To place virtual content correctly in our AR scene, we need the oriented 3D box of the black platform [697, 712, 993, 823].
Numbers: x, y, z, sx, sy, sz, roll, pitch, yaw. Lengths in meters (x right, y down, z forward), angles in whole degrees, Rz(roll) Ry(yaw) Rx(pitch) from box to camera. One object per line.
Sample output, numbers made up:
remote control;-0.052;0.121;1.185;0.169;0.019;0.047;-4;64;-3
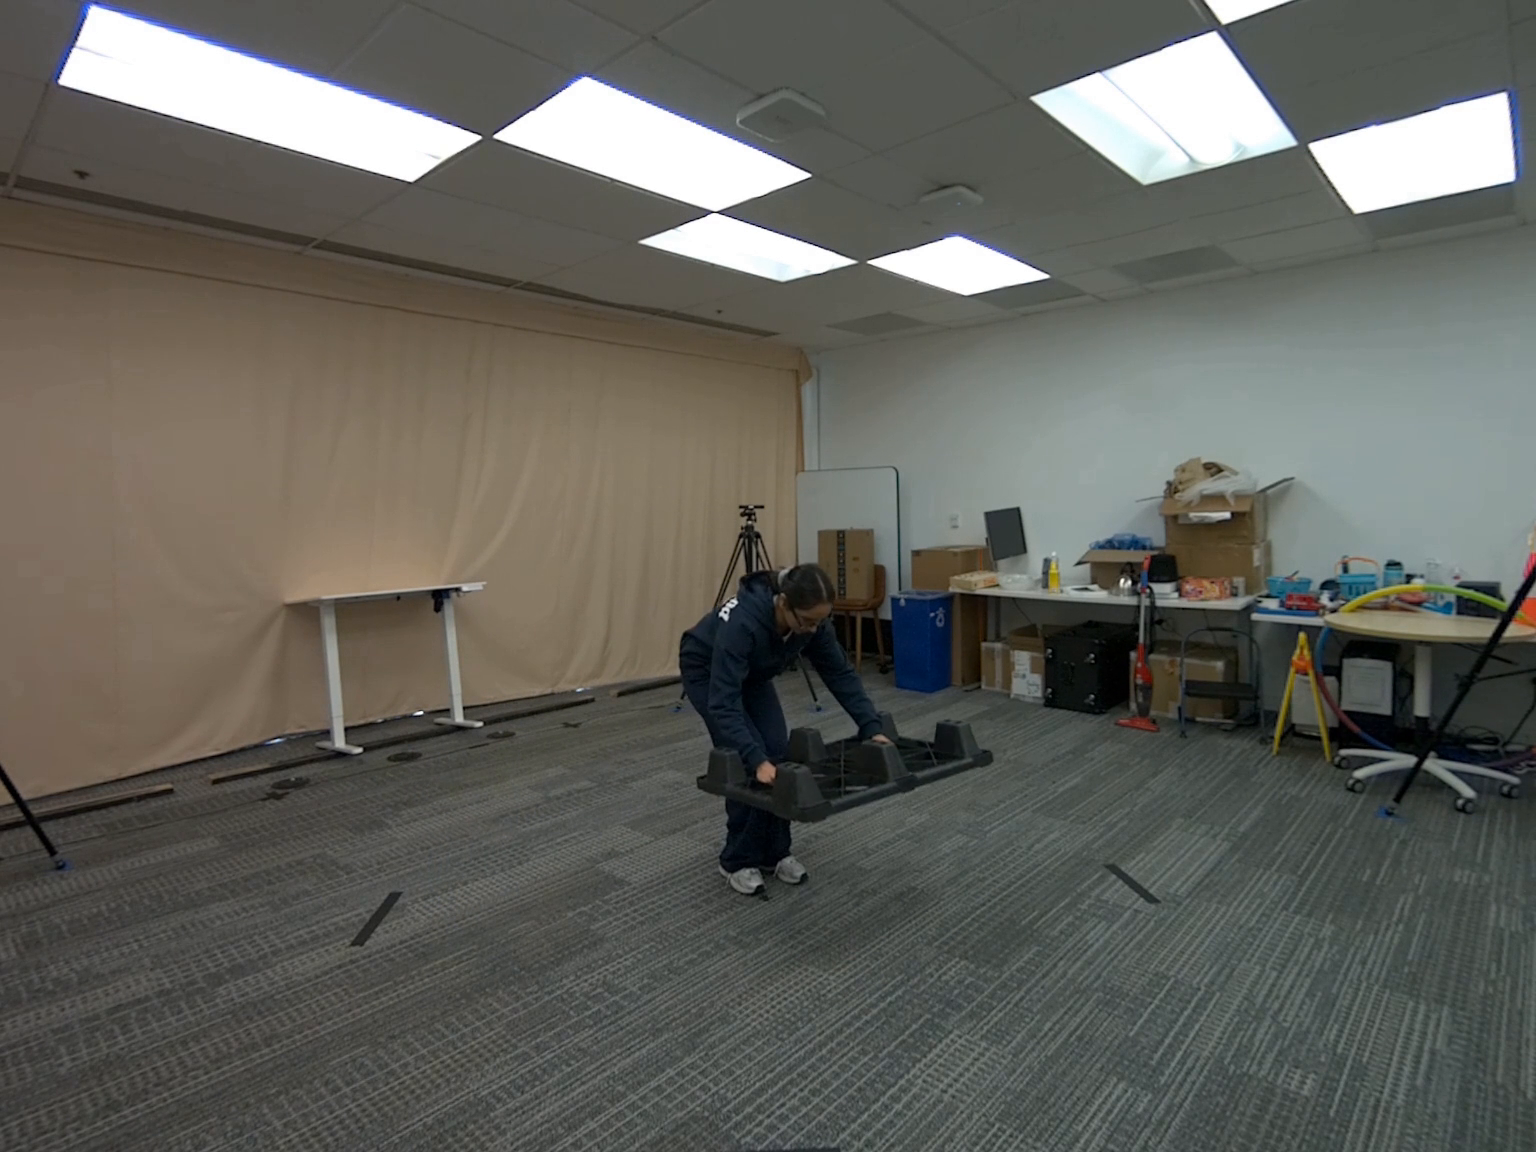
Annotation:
black platform;0.245;0.598;2.796;0.783;0.143;0.622;-7;2;-34
